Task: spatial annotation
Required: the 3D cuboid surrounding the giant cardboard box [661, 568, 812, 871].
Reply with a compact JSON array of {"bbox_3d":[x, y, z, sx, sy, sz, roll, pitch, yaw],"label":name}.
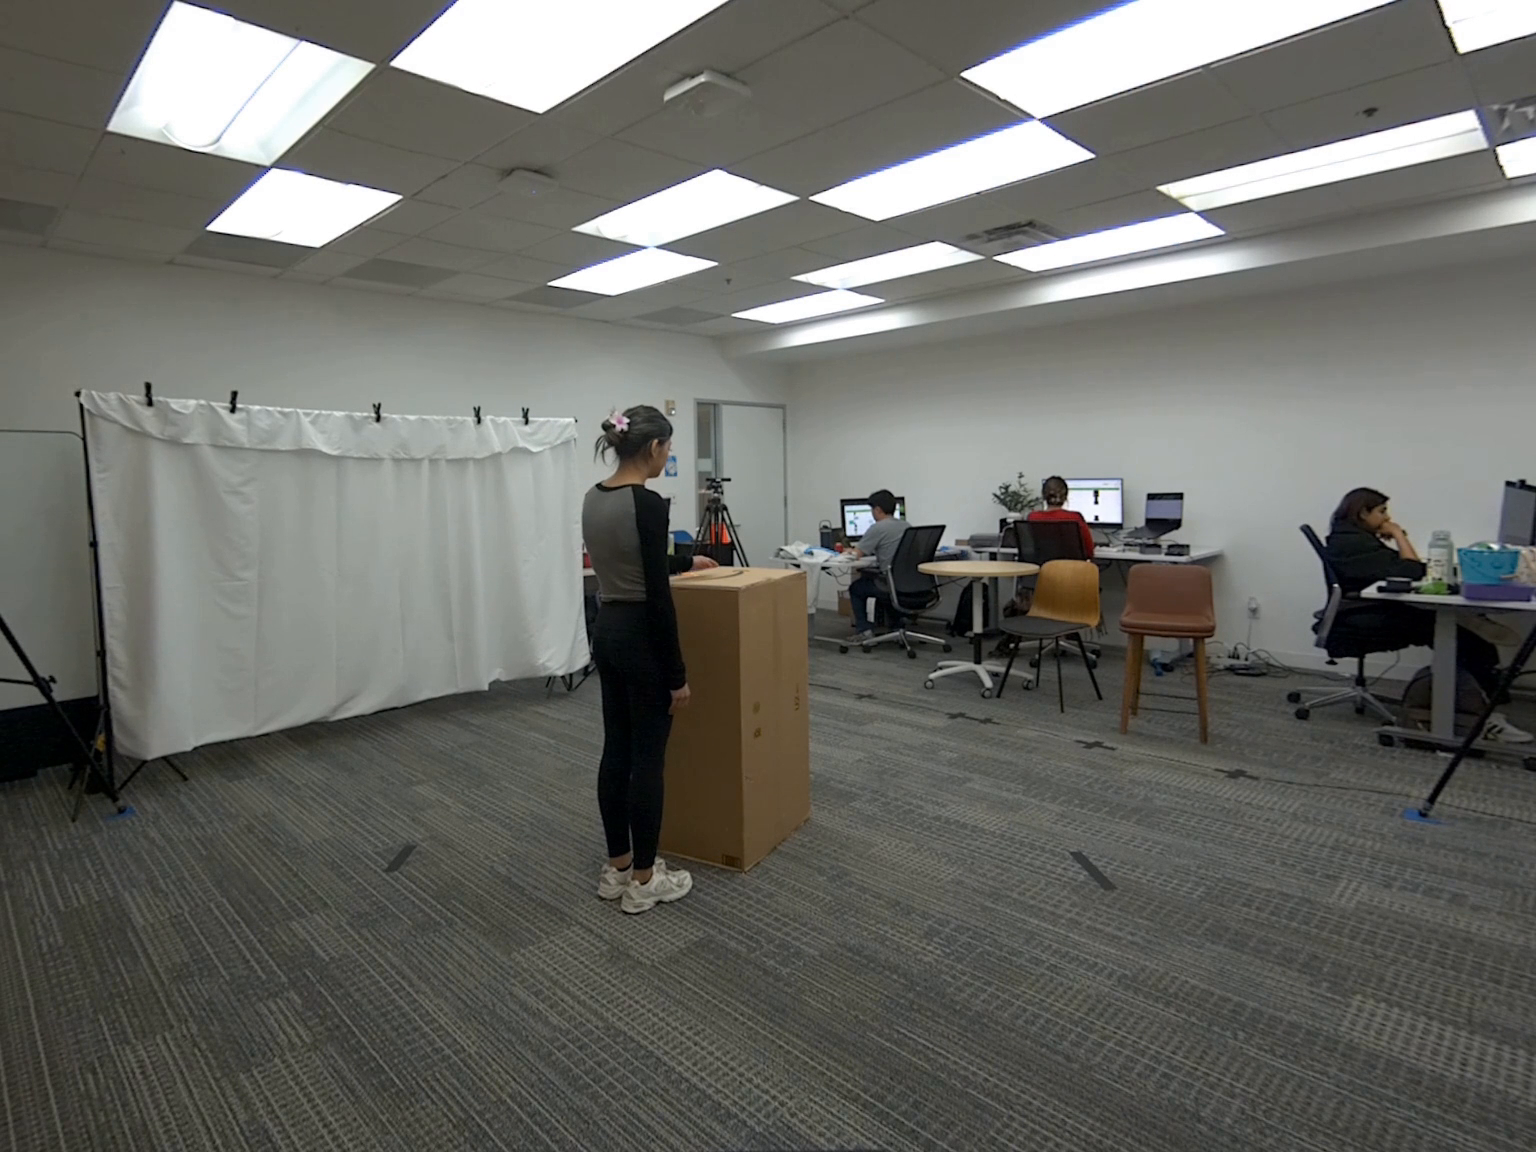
[{"bbox_3d":[-0.150,0.510,3.342,0.458,1.023,0.572,2,5,27],"label":"giant cardboard box"}]
